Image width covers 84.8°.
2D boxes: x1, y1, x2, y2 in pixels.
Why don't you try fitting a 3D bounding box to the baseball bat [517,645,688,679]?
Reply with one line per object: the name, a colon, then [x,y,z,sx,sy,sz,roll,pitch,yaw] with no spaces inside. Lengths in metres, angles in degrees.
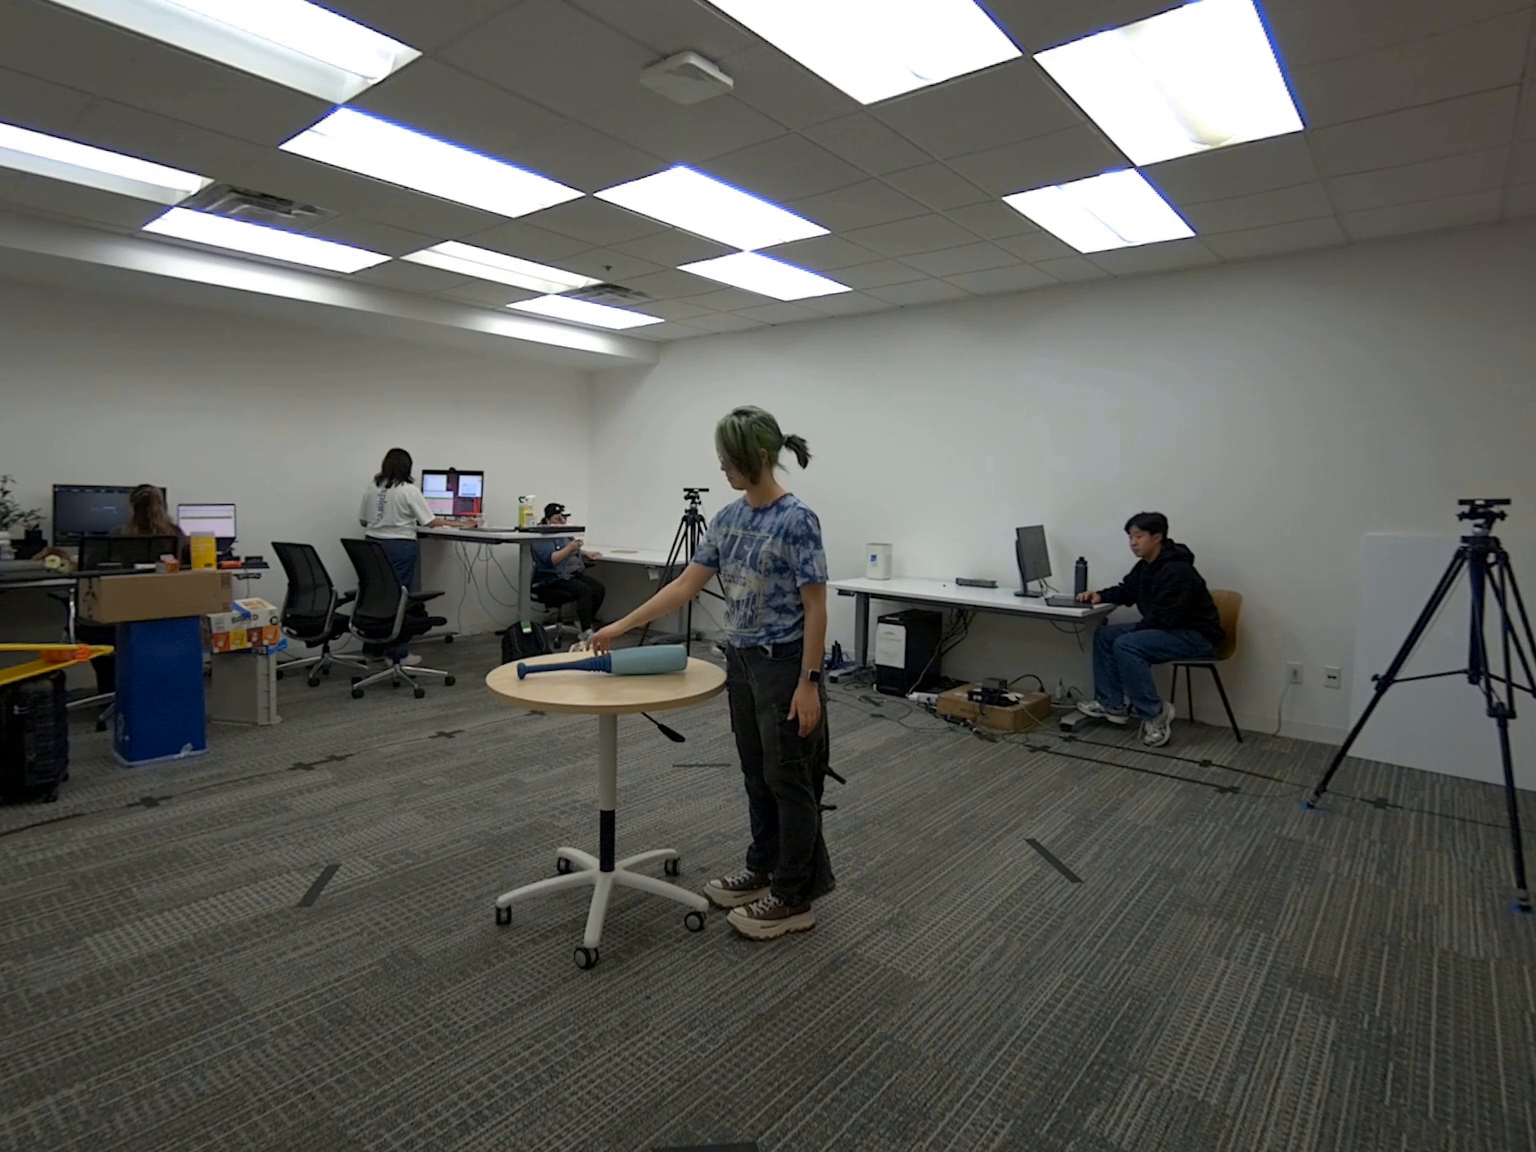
baseball bat: [-0.544,0.282,2.728,0.535,0.089,0.091,-3,5,-14]
